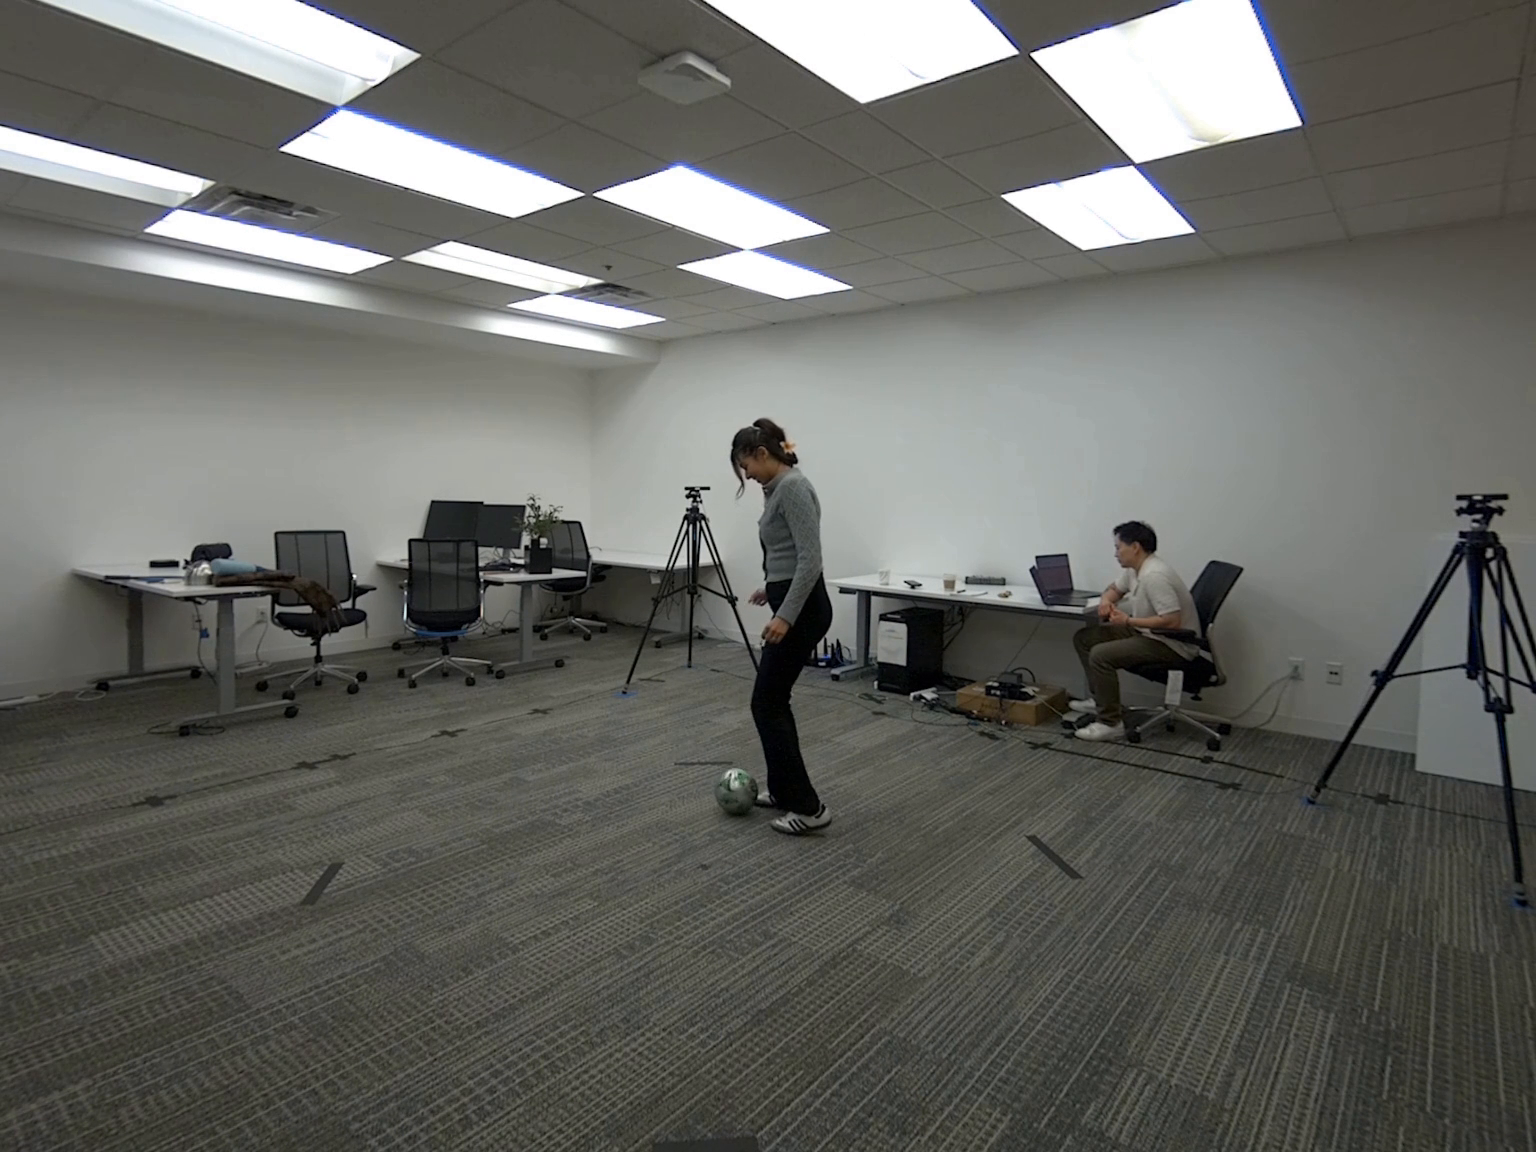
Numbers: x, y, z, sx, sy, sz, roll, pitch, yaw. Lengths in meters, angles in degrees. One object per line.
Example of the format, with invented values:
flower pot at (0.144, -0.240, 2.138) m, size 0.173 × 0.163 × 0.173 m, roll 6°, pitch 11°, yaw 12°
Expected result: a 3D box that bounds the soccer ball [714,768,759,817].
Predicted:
soccer ball at (-0.143, 0.919, 3.649) m, size 0.187 × 0.187 × 0.188 m, roll 1°, pitch 4°, yaw -2°
